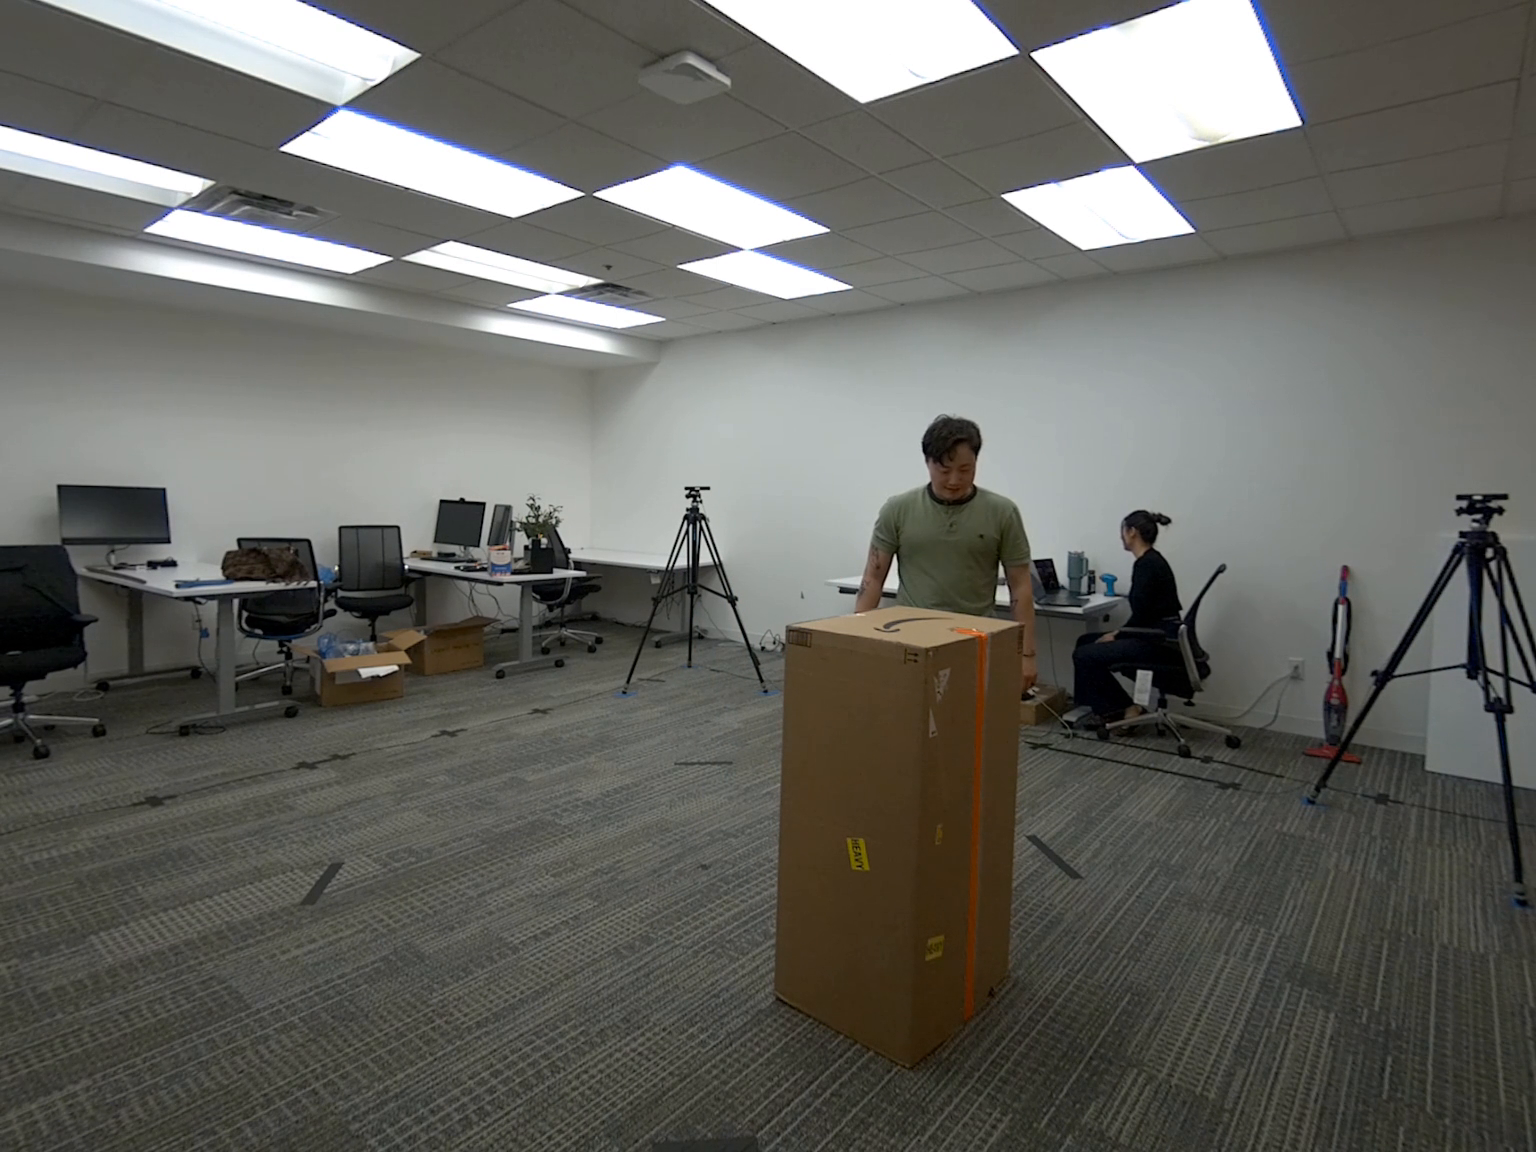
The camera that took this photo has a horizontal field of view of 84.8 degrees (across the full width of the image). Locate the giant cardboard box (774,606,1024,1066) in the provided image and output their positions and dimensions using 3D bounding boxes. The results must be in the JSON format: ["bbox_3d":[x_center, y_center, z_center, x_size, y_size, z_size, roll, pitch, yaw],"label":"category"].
[{"bbox_3d":[0.368,0.638,2.363,0.441,1.023,0.560,4,5,41],"label":"giant cardboard box"}]
